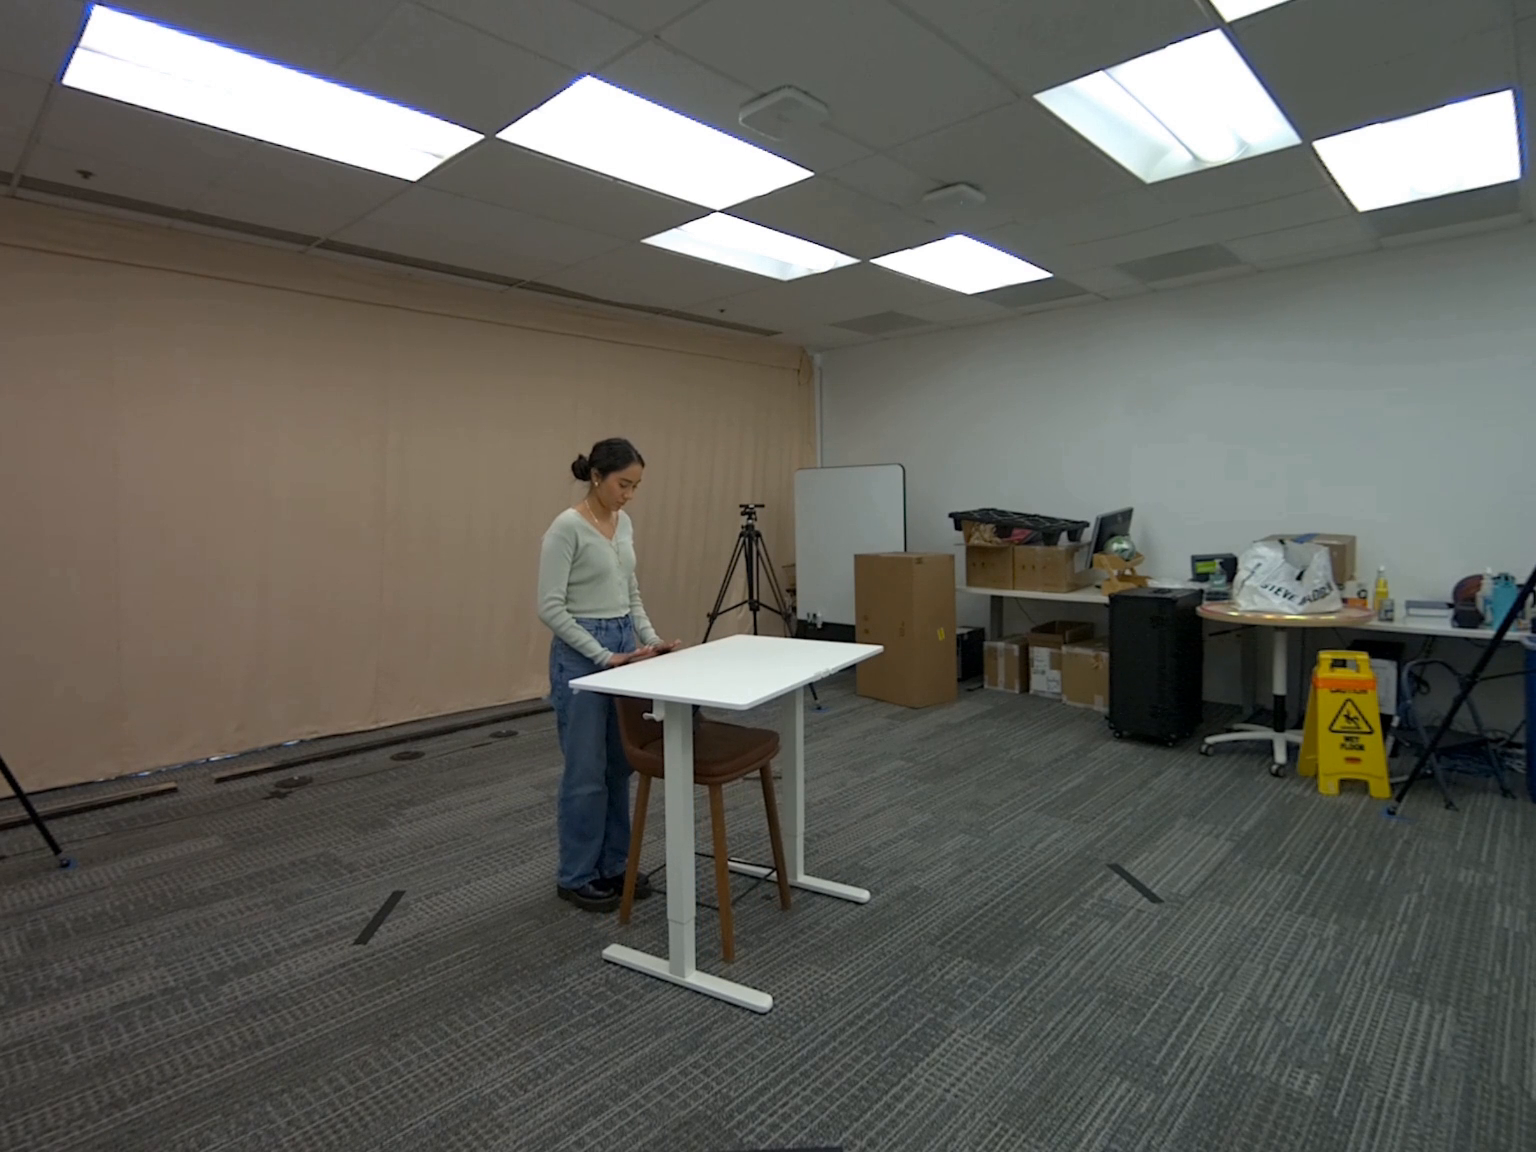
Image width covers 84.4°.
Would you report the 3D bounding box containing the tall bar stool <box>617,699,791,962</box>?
[{"bbox_3d":[-0.232,0.728,2.824,0.481,0.888,0.444,-2,3,30],"label":"tall bar stool"}]
